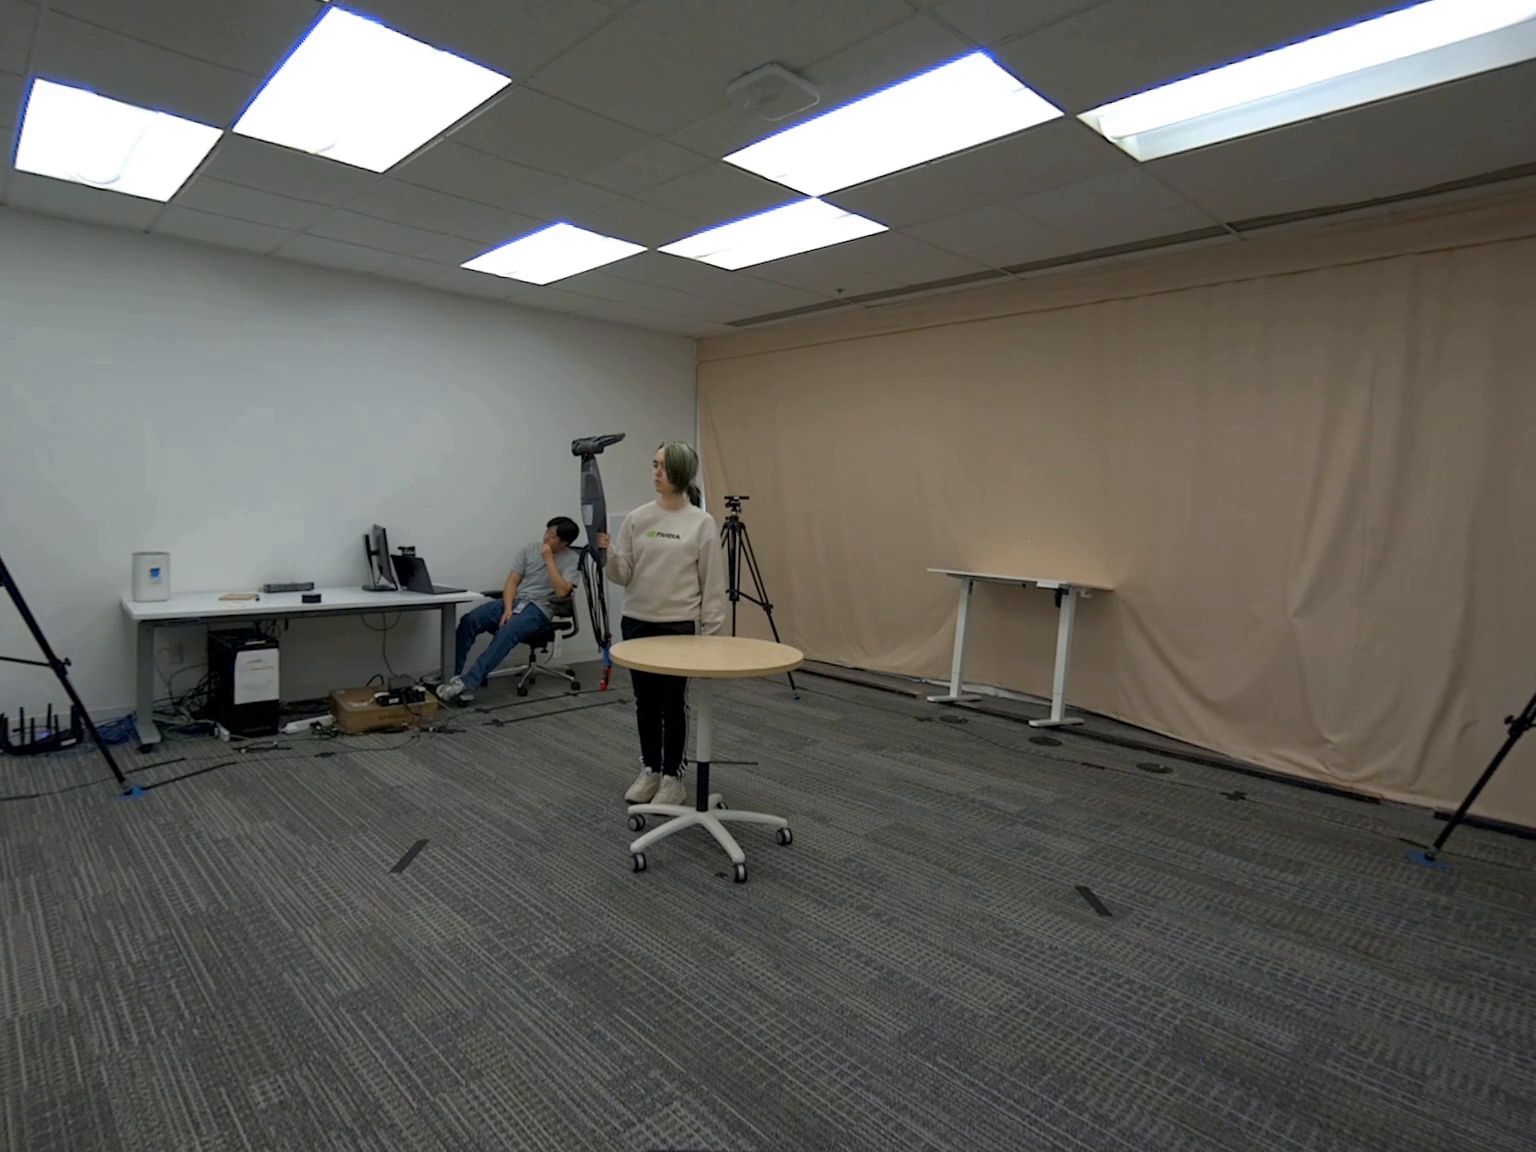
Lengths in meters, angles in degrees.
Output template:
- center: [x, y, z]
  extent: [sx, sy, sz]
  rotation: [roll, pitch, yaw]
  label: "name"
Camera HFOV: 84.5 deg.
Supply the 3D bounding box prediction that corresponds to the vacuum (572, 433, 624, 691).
- center: [-0.734, -0.055, 3.561]
  extent: [0.257, 1.051, 0.141]
  rotation: [-3, -2, 26]
  label: "vacuum"
